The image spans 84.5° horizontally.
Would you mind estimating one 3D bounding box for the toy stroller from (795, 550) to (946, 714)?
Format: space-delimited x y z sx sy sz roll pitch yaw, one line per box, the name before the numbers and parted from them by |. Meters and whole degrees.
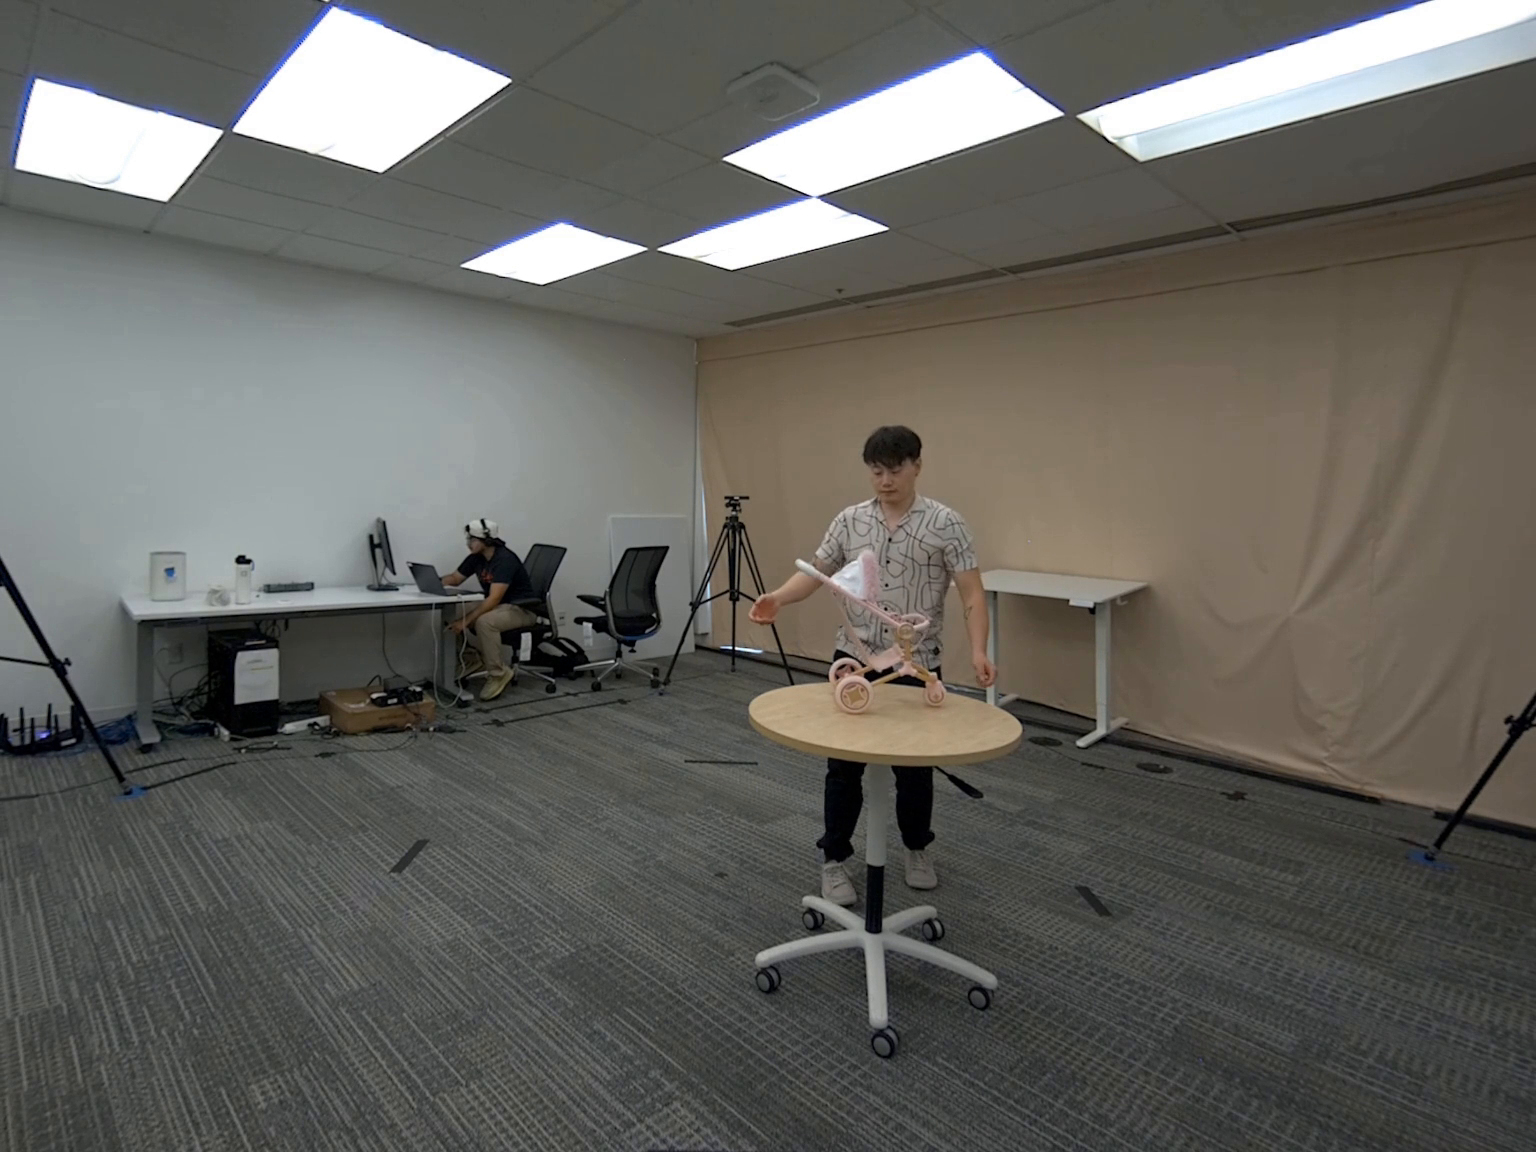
toy stroller | 0.308 0.163 2.506 0.343 0.534 0.281 -14 2 7
